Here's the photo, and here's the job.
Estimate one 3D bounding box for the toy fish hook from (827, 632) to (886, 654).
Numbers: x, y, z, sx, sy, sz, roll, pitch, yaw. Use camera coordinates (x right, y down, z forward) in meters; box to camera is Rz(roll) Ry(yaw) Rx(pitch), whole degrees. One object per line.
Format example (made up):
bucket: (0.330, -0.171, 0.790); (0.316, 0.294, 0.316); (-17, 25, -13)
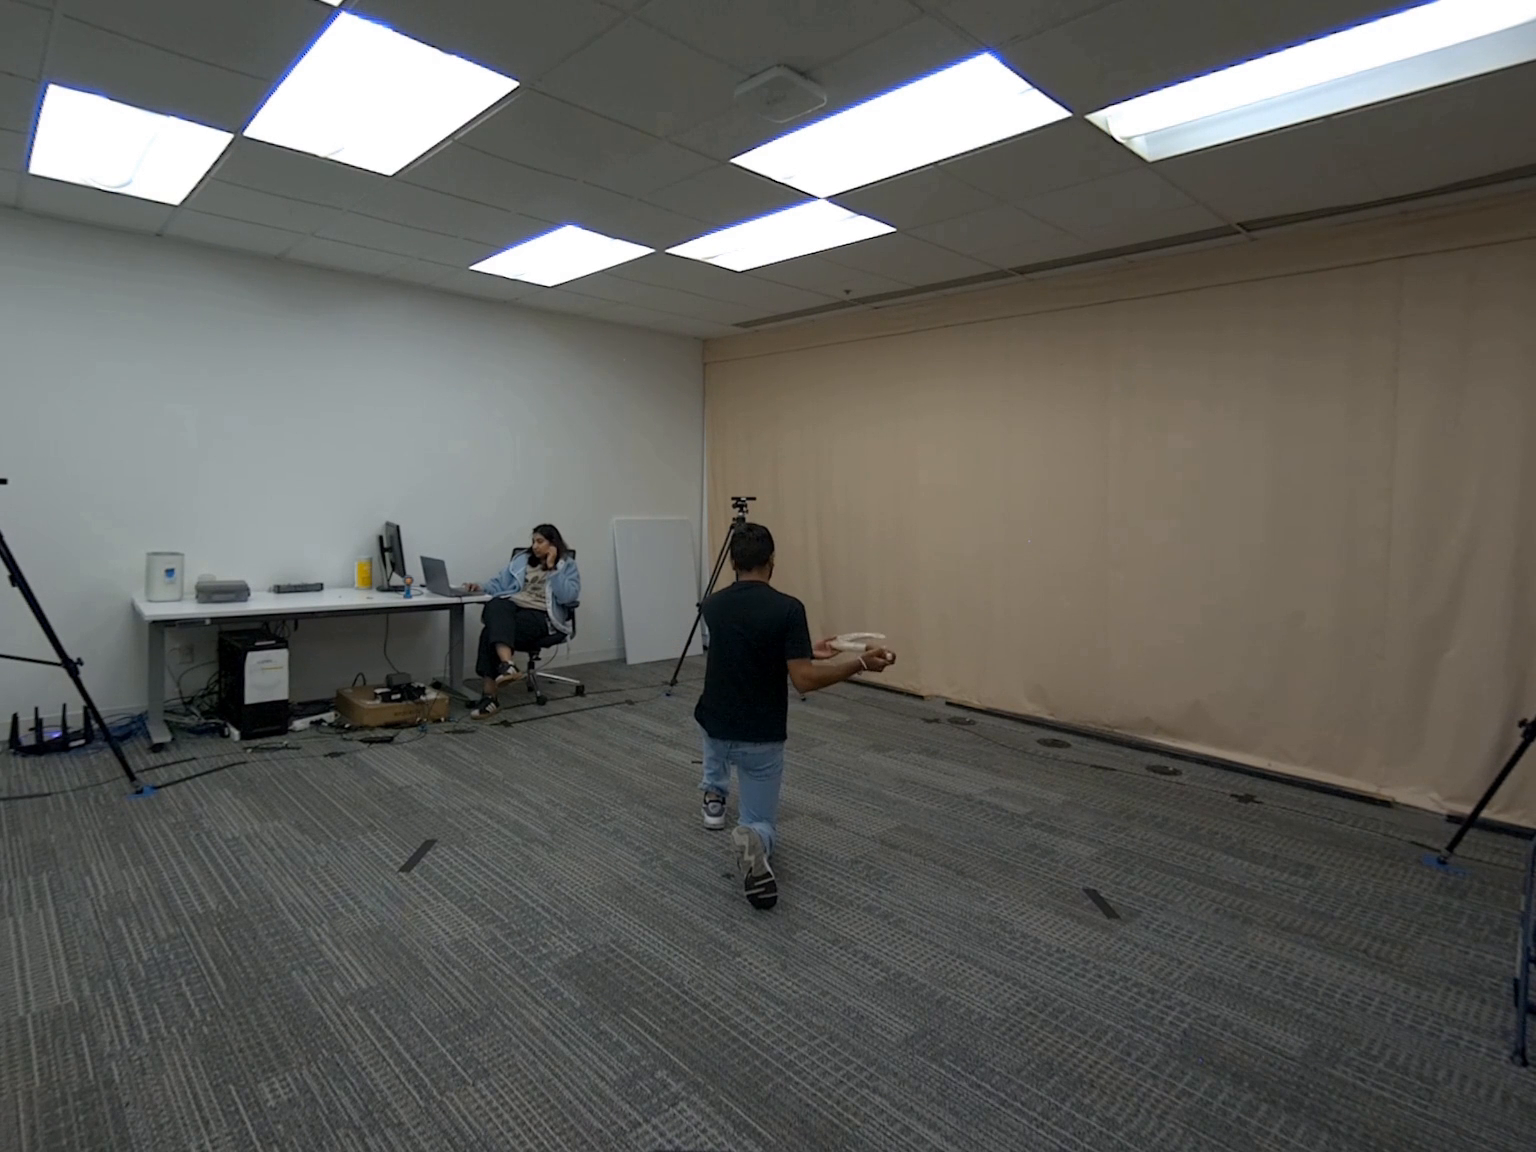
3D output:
toy fish hook: (0.413, 0.280, 3.473); (0.222, 0.048, 0.515); (-18, 10, -19)
